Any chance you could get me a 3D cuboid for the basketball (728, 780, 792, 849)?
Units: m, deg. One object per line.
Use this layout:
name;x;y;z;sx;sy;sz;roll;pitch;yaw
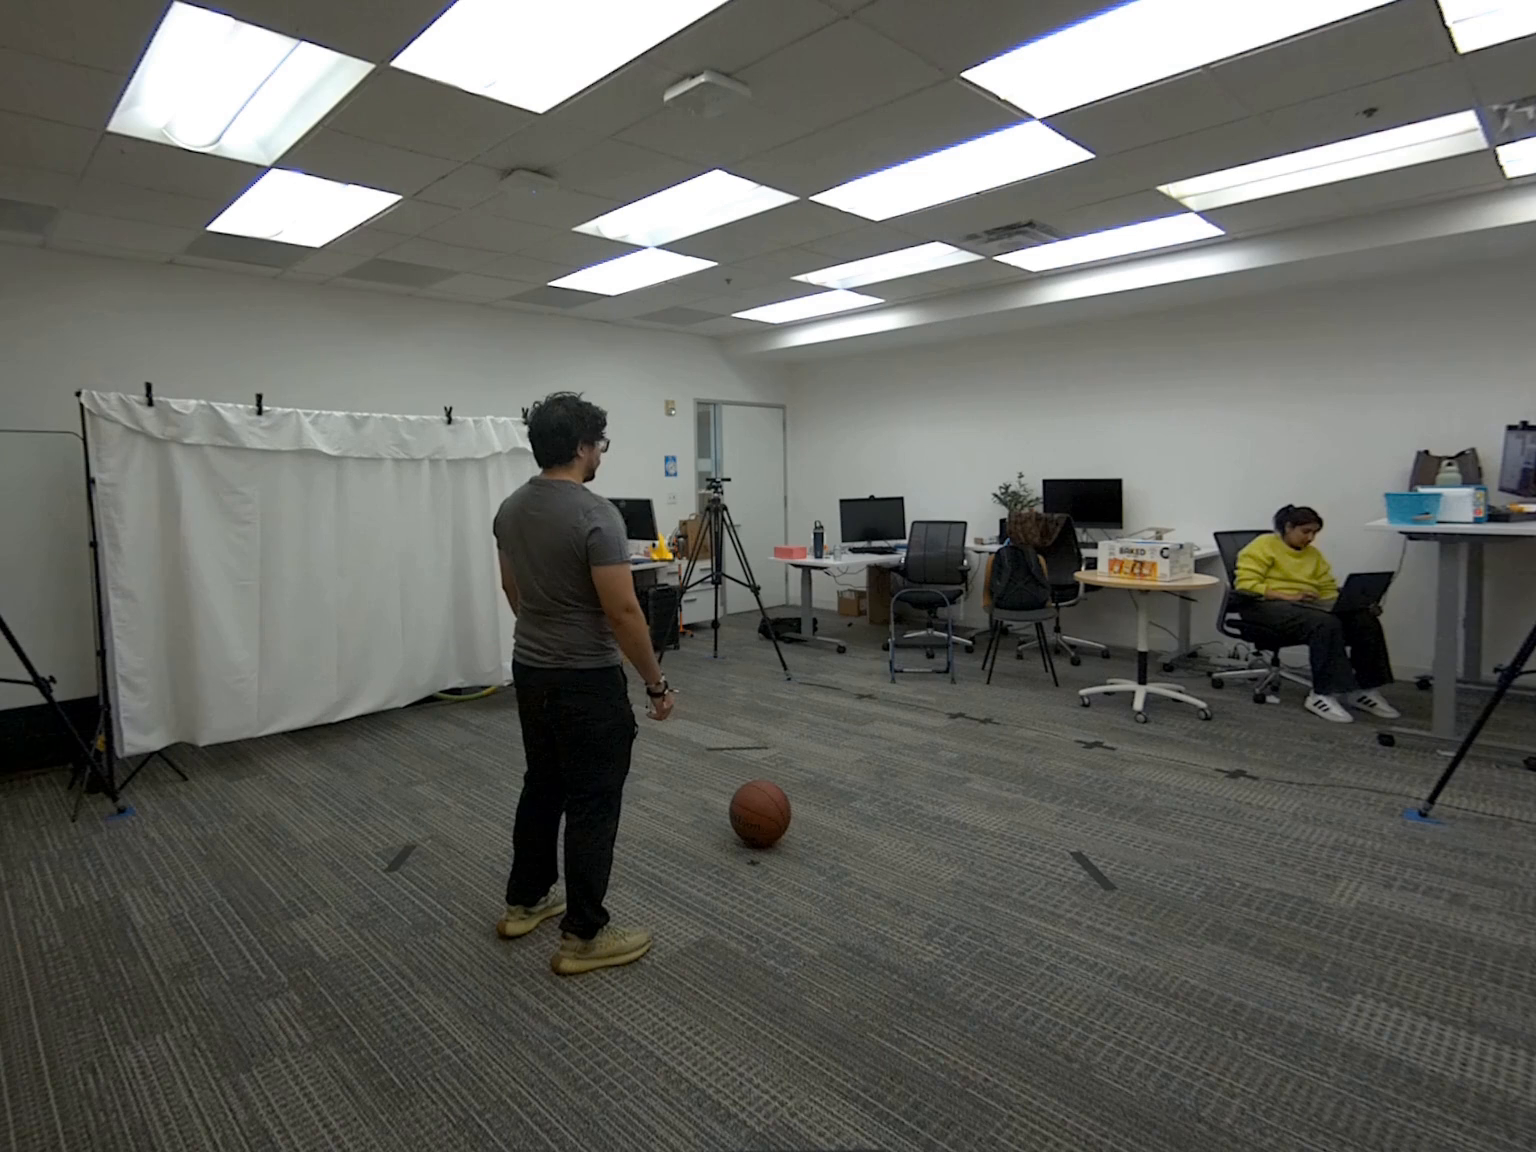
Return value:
basketball;-0.032;0.905;3.268;0.236;0.235;0.237;-1;5;-2
